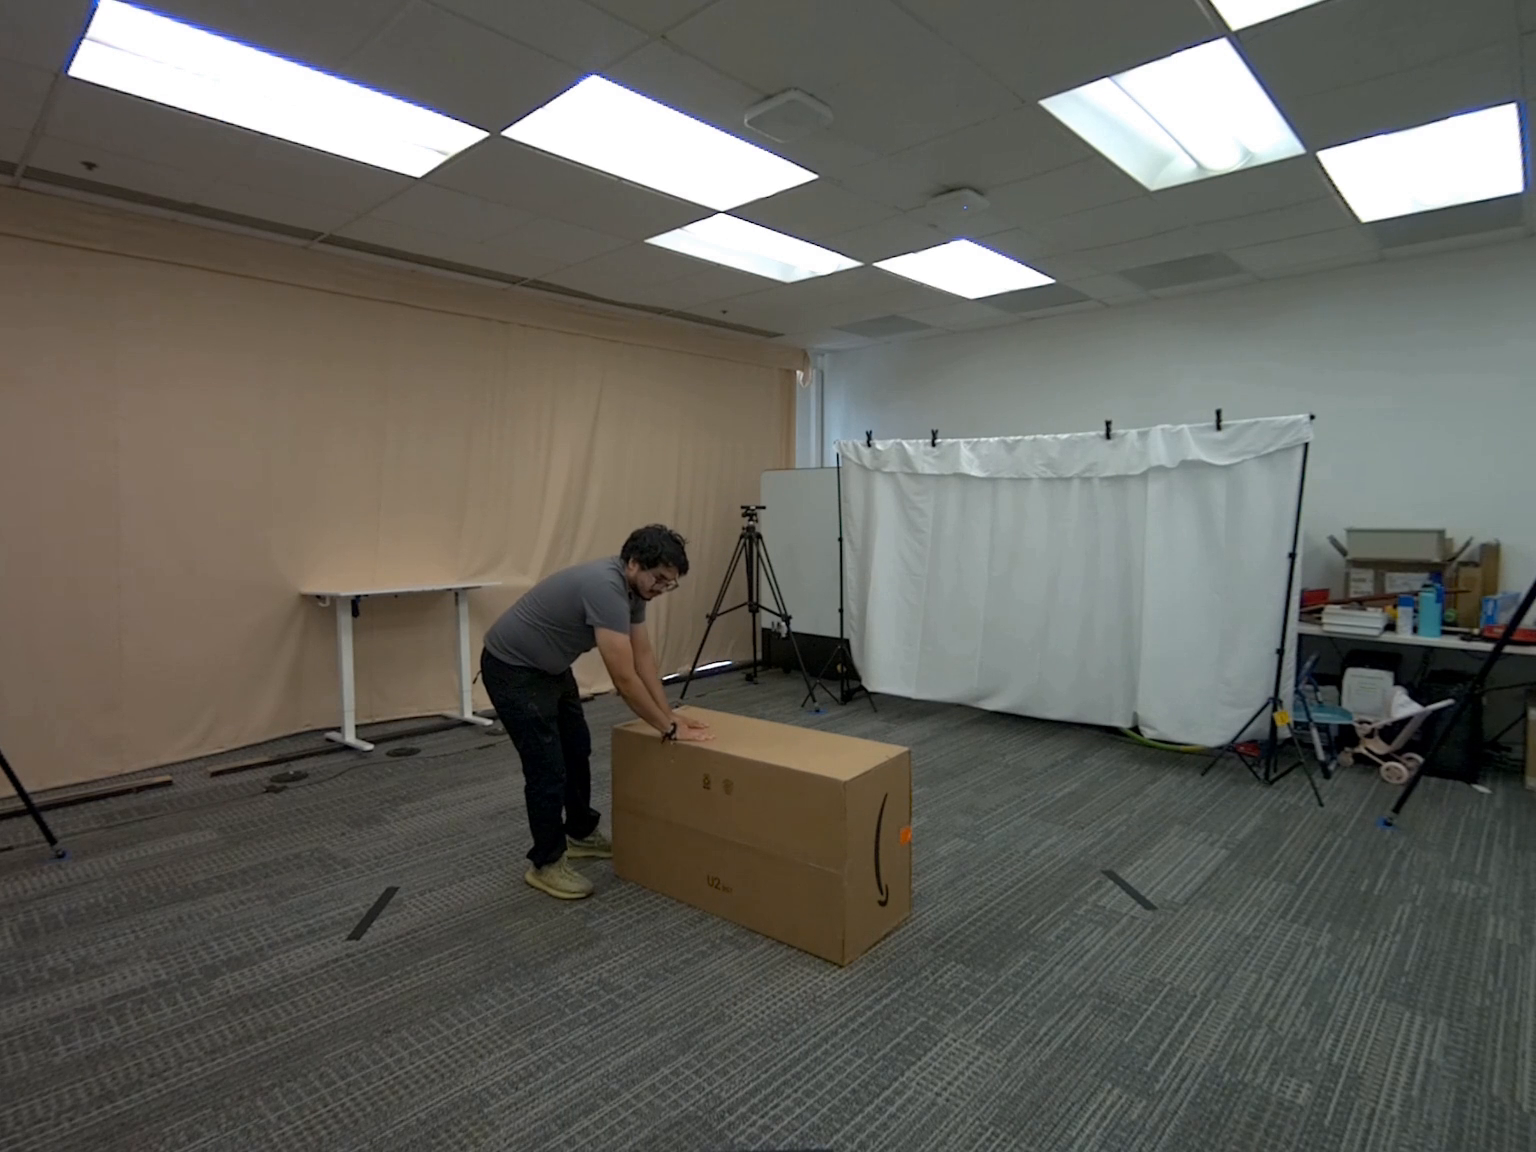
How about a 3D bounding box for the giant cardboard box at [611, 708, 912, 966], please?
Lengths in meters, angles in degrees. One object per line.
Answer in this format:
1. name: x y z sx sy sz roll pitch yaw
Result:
1. giant cardboard box: -0.044 0.855 3.001 1.059 0.576 0.413 3 4 39
